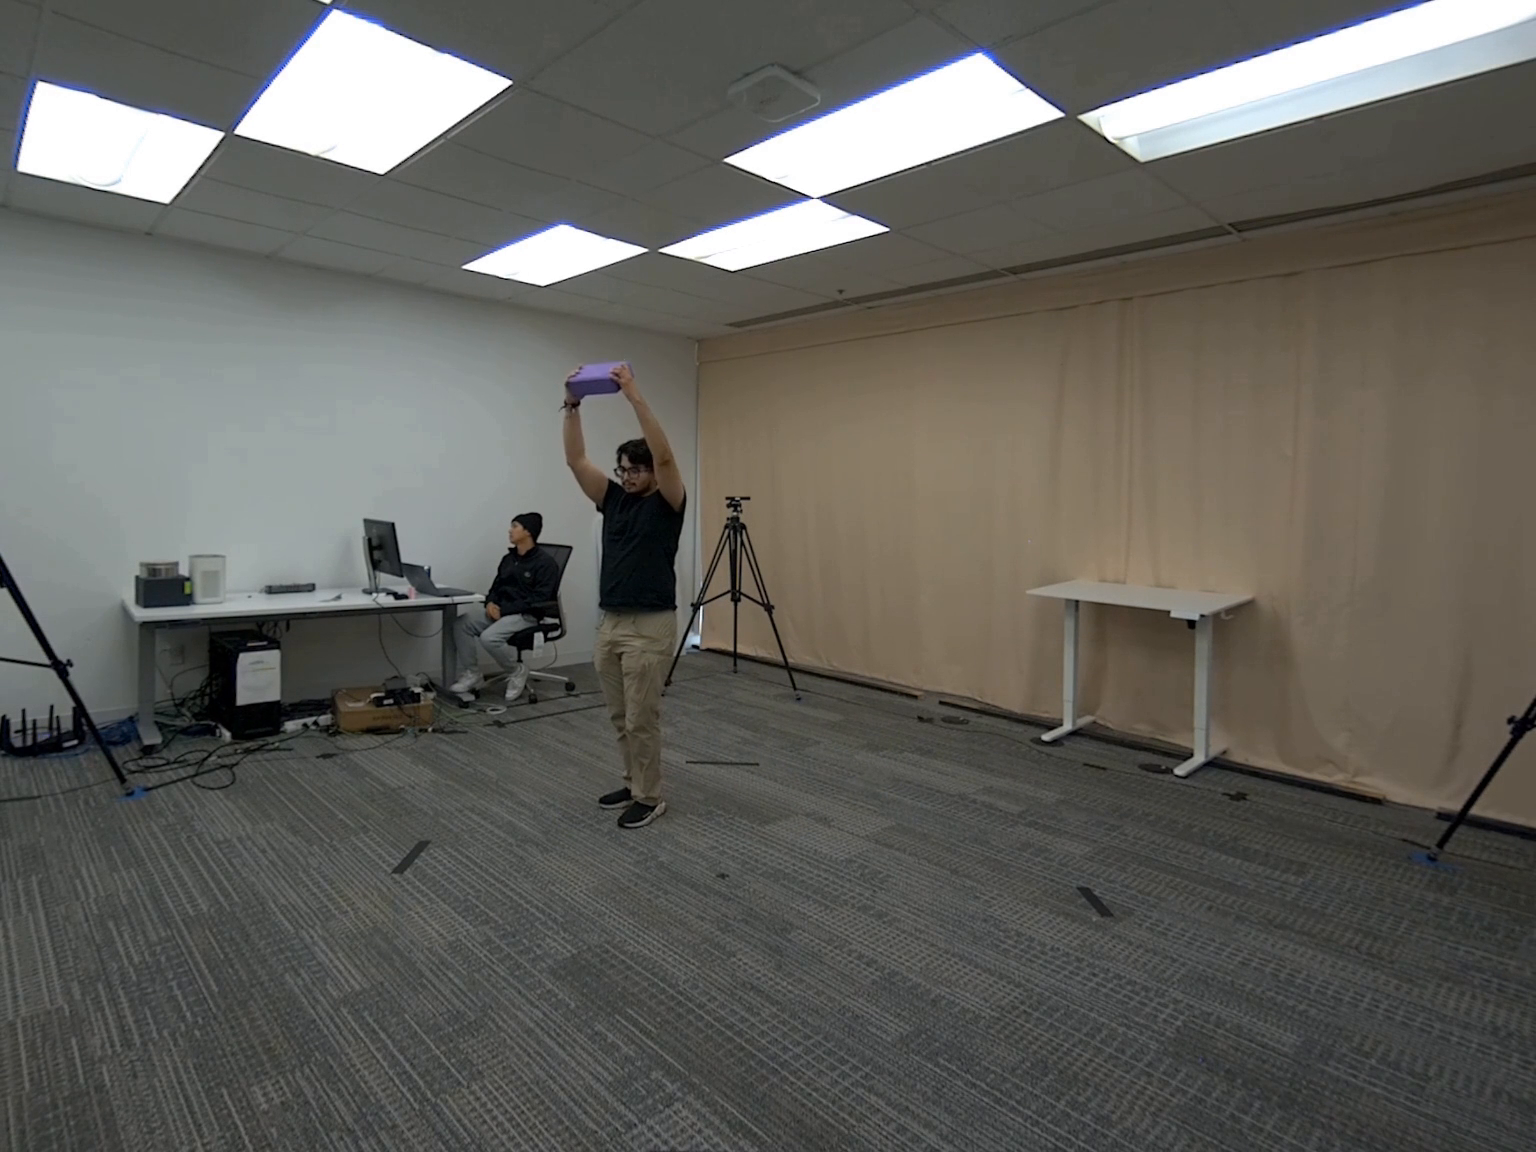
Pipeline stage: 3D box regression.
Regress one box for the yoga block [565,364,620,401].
[{"bbox_3d":[-0.689,-0.798,3.401,0.234,0.074,0.150,3,39,28],"label":"yoga block"}]
